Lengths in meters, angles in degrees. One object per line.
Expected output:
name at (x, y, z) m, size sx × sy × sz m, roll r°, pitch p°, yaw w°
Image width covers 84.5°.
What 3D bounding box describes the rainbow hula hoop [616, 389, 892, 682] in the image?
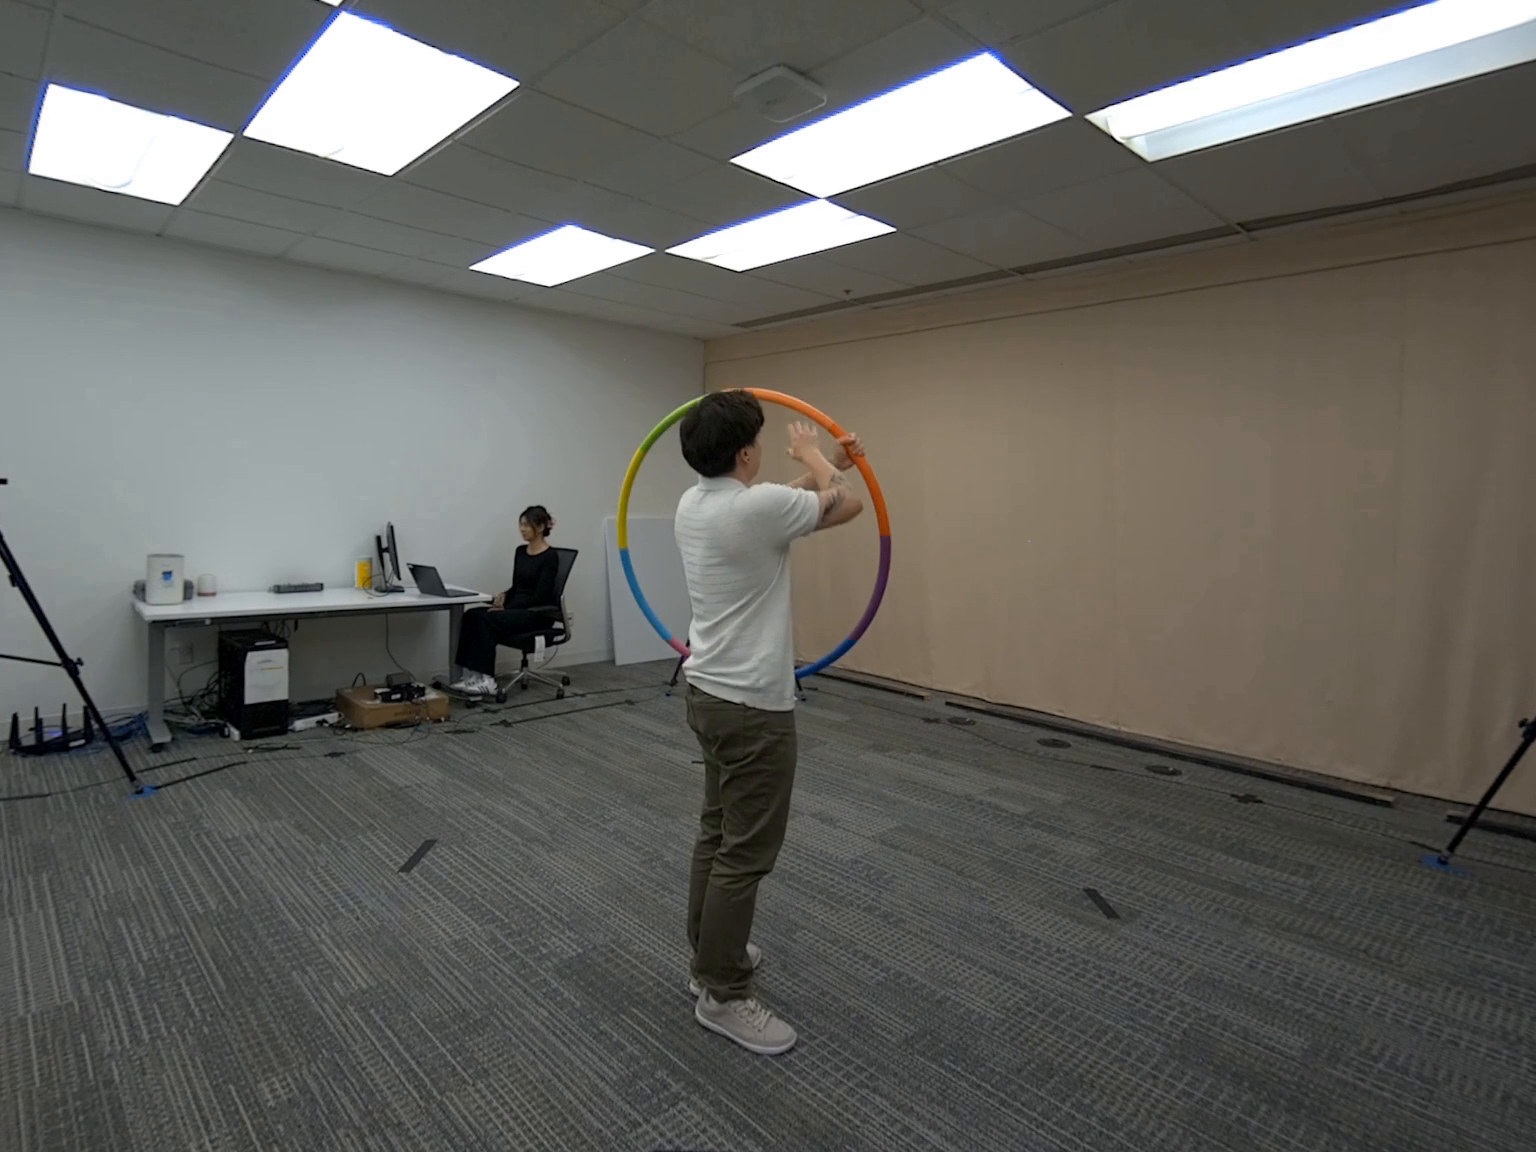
rainbow hula hoop at (-0.074, -0.108, 2.764) m, size 0.998 × 0.970 × 0.035 m, roll 4°, pitch 13°, yaw 25°
